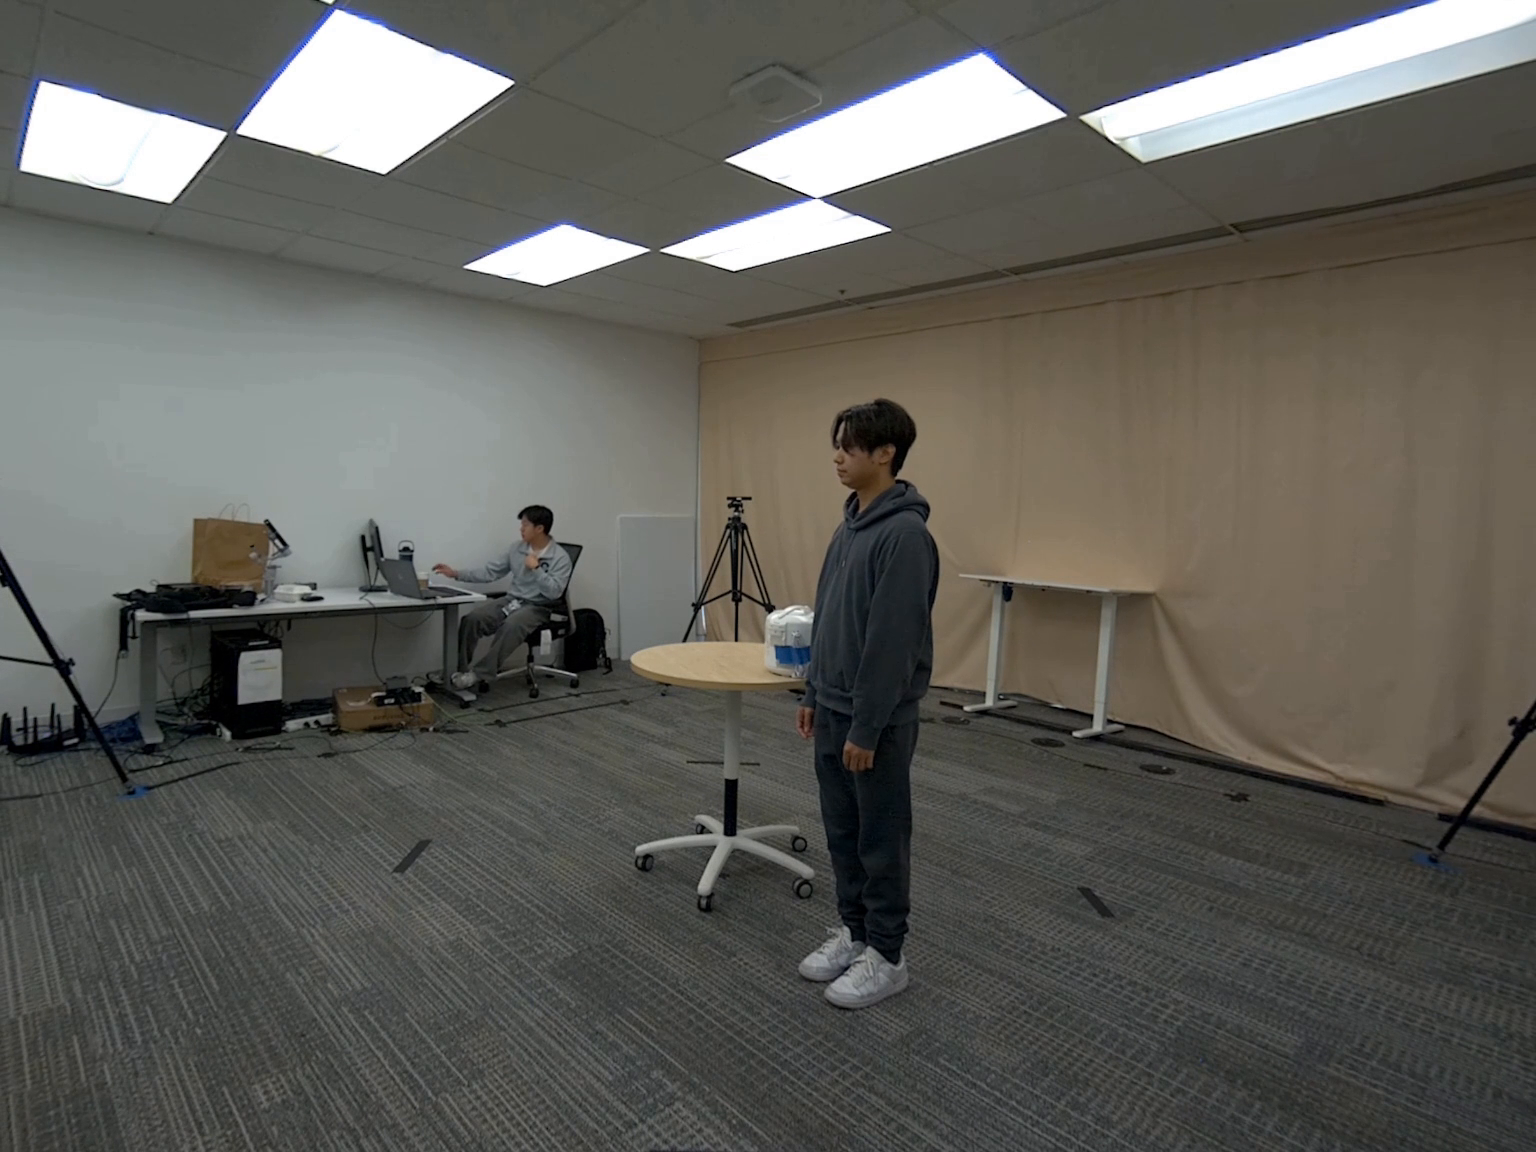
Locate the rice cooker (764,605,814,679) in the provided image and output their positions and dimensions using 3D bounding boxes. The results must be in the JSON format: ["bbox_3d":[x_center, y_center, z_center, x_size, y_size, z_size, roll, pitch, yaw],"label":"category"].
[{"bbox_3d":[0.086,0.219,2.901,0.223,0.232,0.215,8,7,40],"label":"rice cooker"}]
